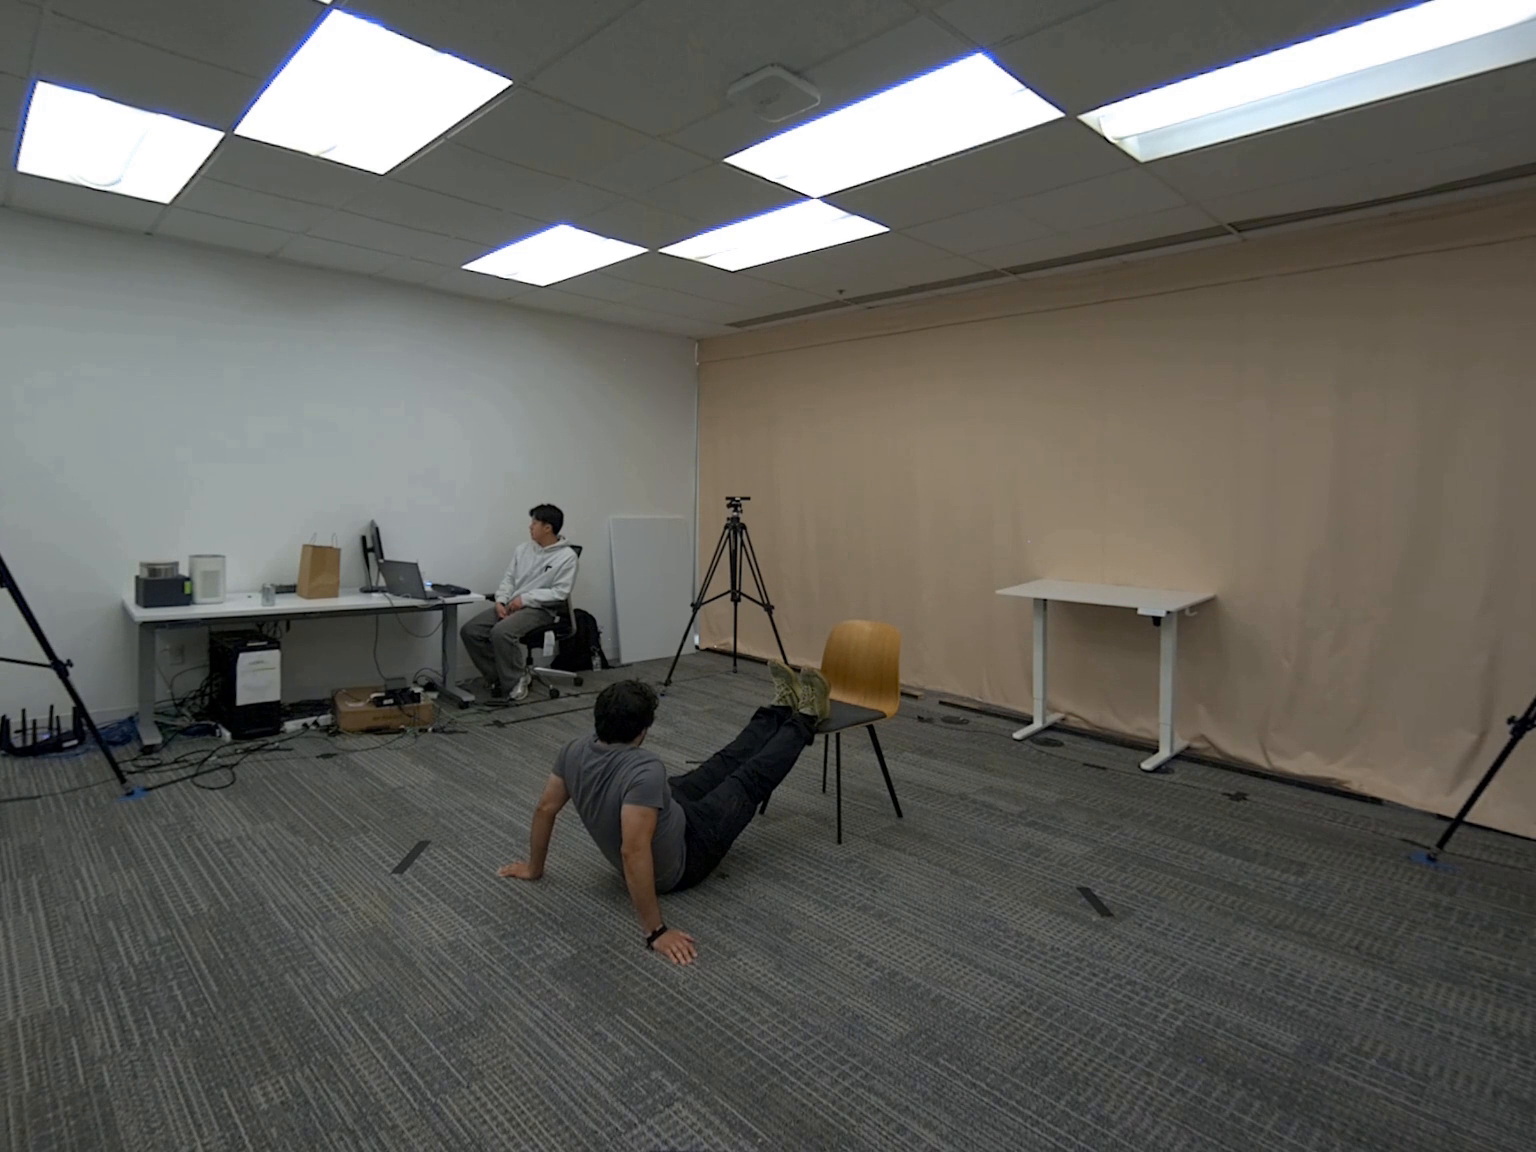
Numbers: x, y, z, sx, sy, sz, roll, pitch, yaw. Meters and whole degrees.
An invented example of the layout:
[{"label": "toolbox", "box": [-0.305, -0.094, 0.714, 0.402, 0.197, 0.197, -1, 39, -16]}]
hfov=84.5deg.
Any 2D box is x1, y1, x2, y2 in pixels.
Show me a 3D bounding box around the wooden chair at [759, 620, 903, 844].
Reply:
[{"label": "wooden chair", "box": [0.275, 0.640, 3.701, 0.490, 0.877, 0.510, 4, 0, 44]}]
